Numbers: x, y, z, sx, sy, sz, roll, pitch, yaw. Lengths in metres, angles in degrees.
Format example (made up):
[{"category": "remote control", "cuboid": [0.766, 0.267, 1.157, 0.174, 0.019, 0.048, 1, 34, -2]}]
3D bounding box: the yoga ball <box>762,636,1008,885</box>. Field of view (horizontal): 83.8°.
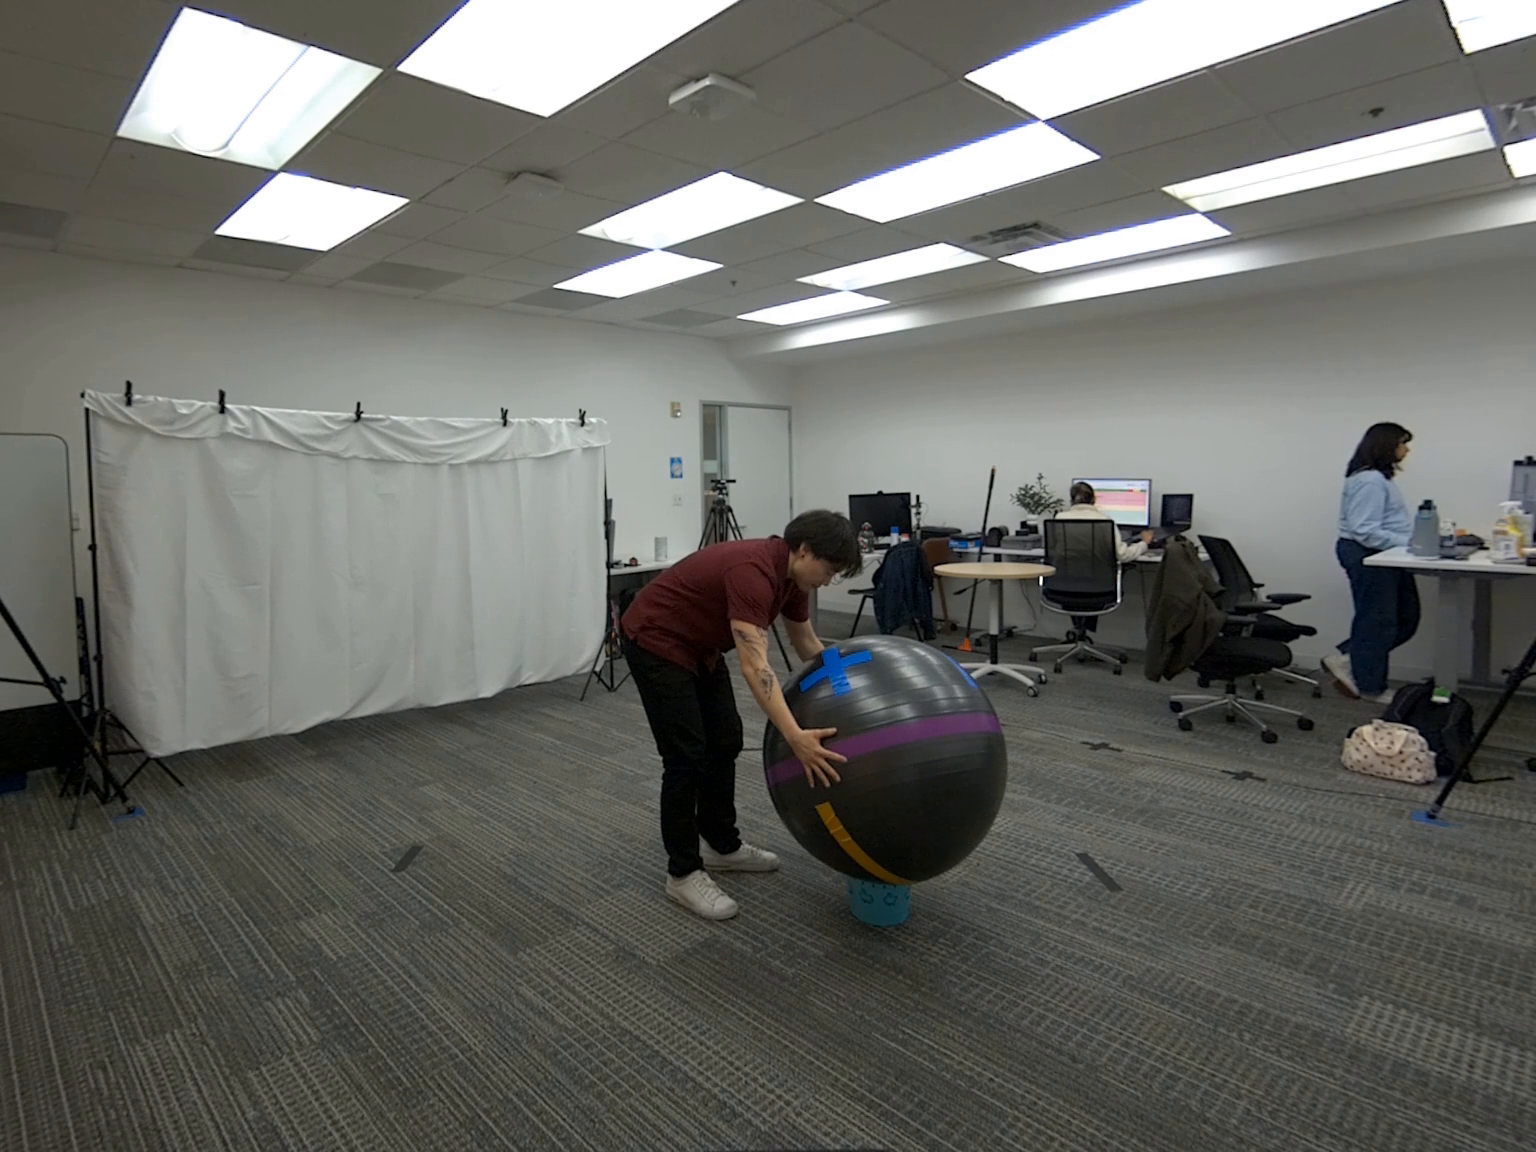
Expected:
[{"category": "yoga ball", "cuboid": [0.359, 0.580, 2.715, 0.757, 0.755, 0.762, -1, 5, -2]}]
